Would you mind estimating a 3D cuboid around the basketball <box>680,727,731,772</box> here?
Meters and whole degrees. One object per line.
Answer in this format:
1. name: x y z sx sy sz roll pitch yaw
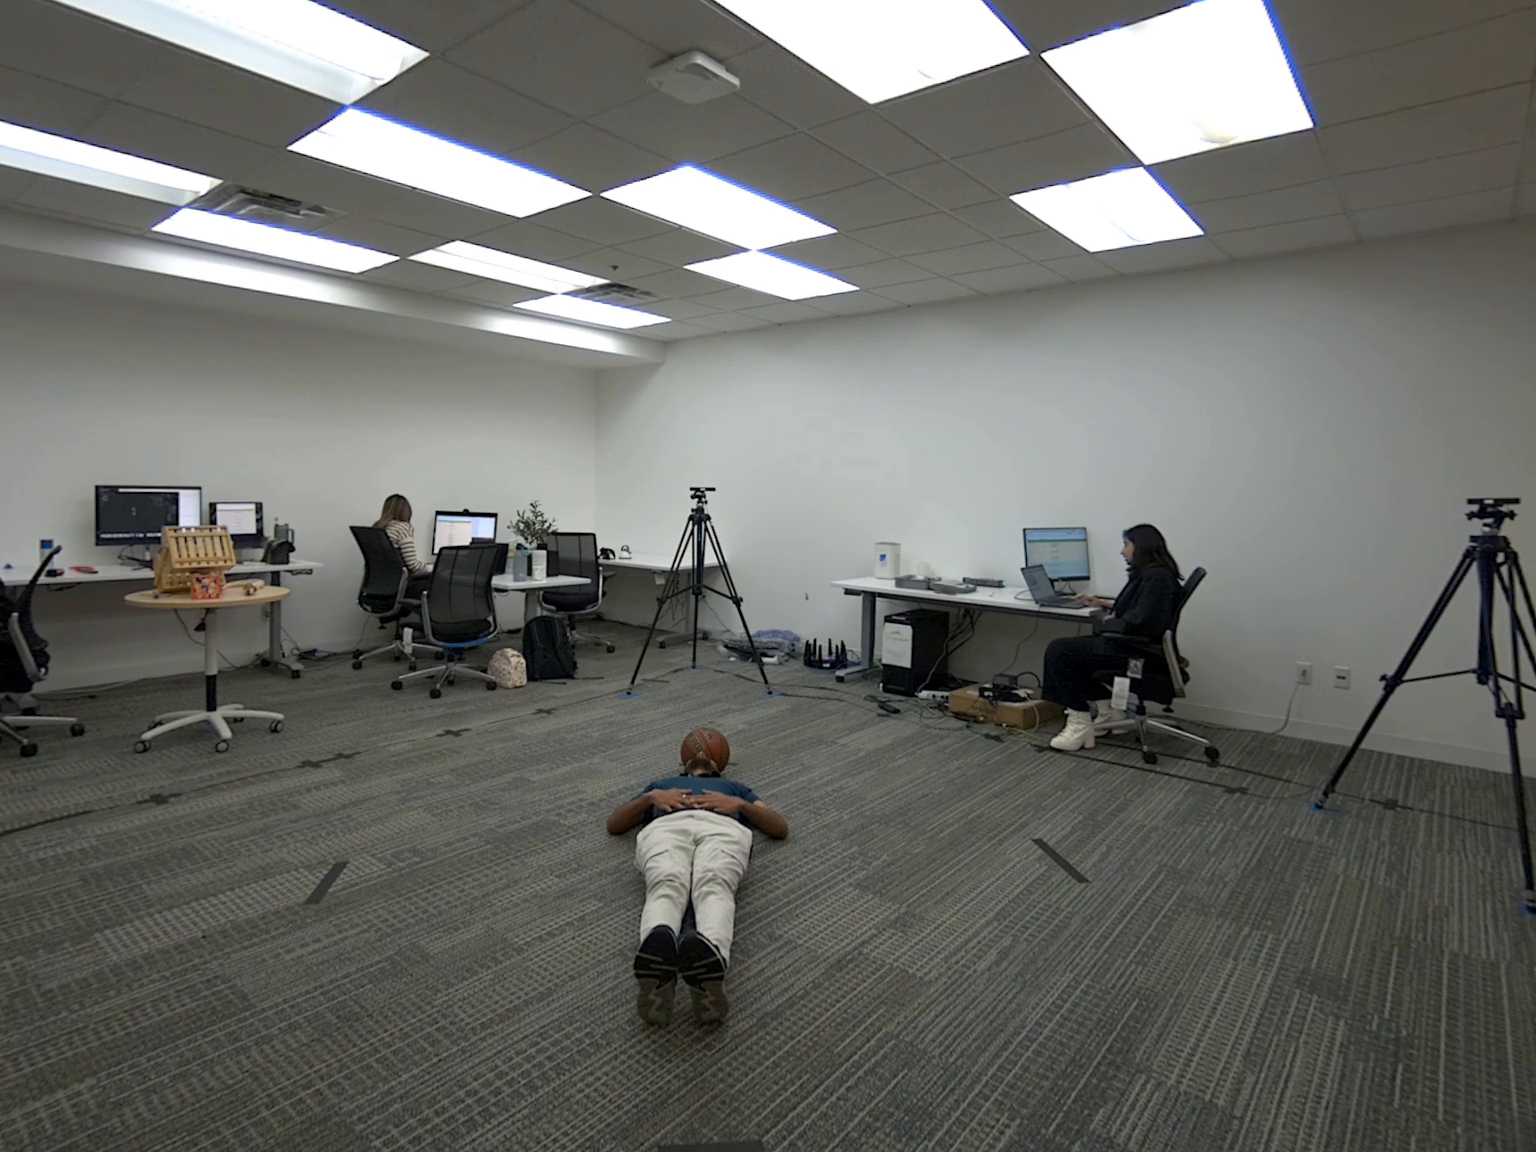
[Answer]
1. basketball: -0.311 0.848 4.105 0.235 0.235 0.237 1 4 -2
